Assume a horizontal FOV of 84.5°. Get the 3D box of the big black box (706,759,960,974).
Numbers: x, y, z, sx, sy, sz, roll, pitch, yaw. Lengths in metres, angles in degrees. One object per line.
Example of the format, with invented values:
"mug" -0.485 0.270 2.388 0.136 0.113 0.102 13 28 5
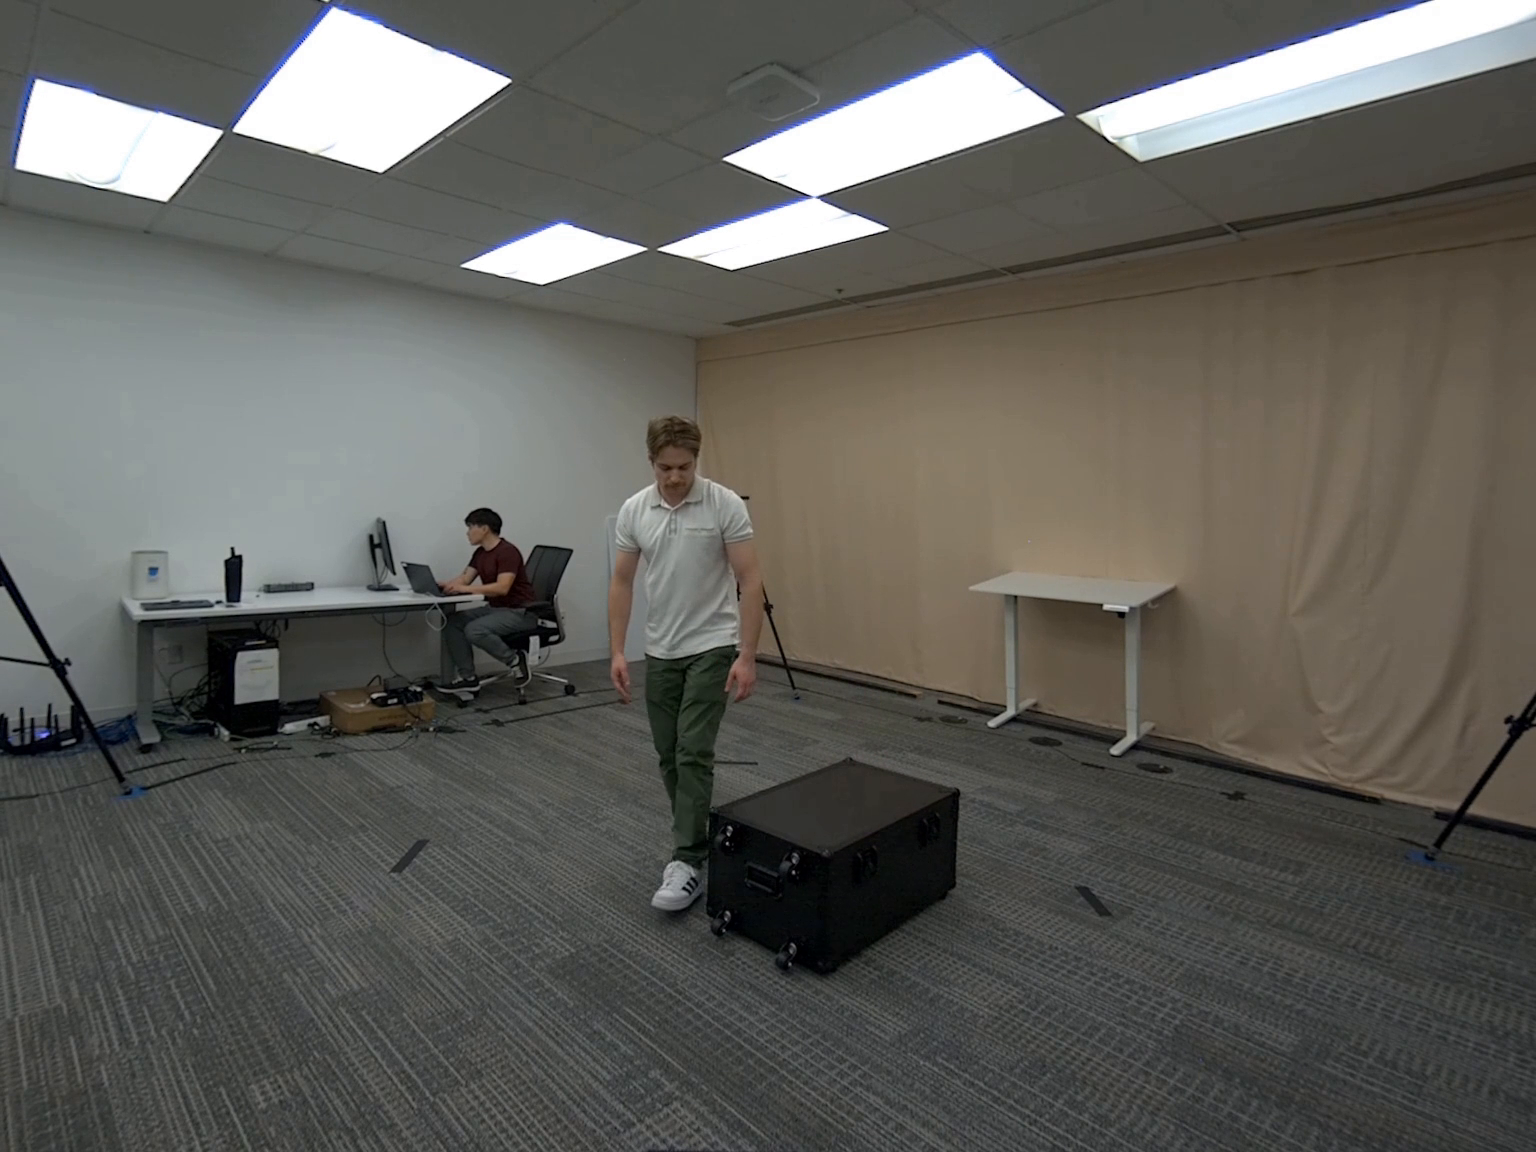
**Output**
"big black box" 0.204 0.941 2.841 0.537 0.384 0.849 7 8 41
